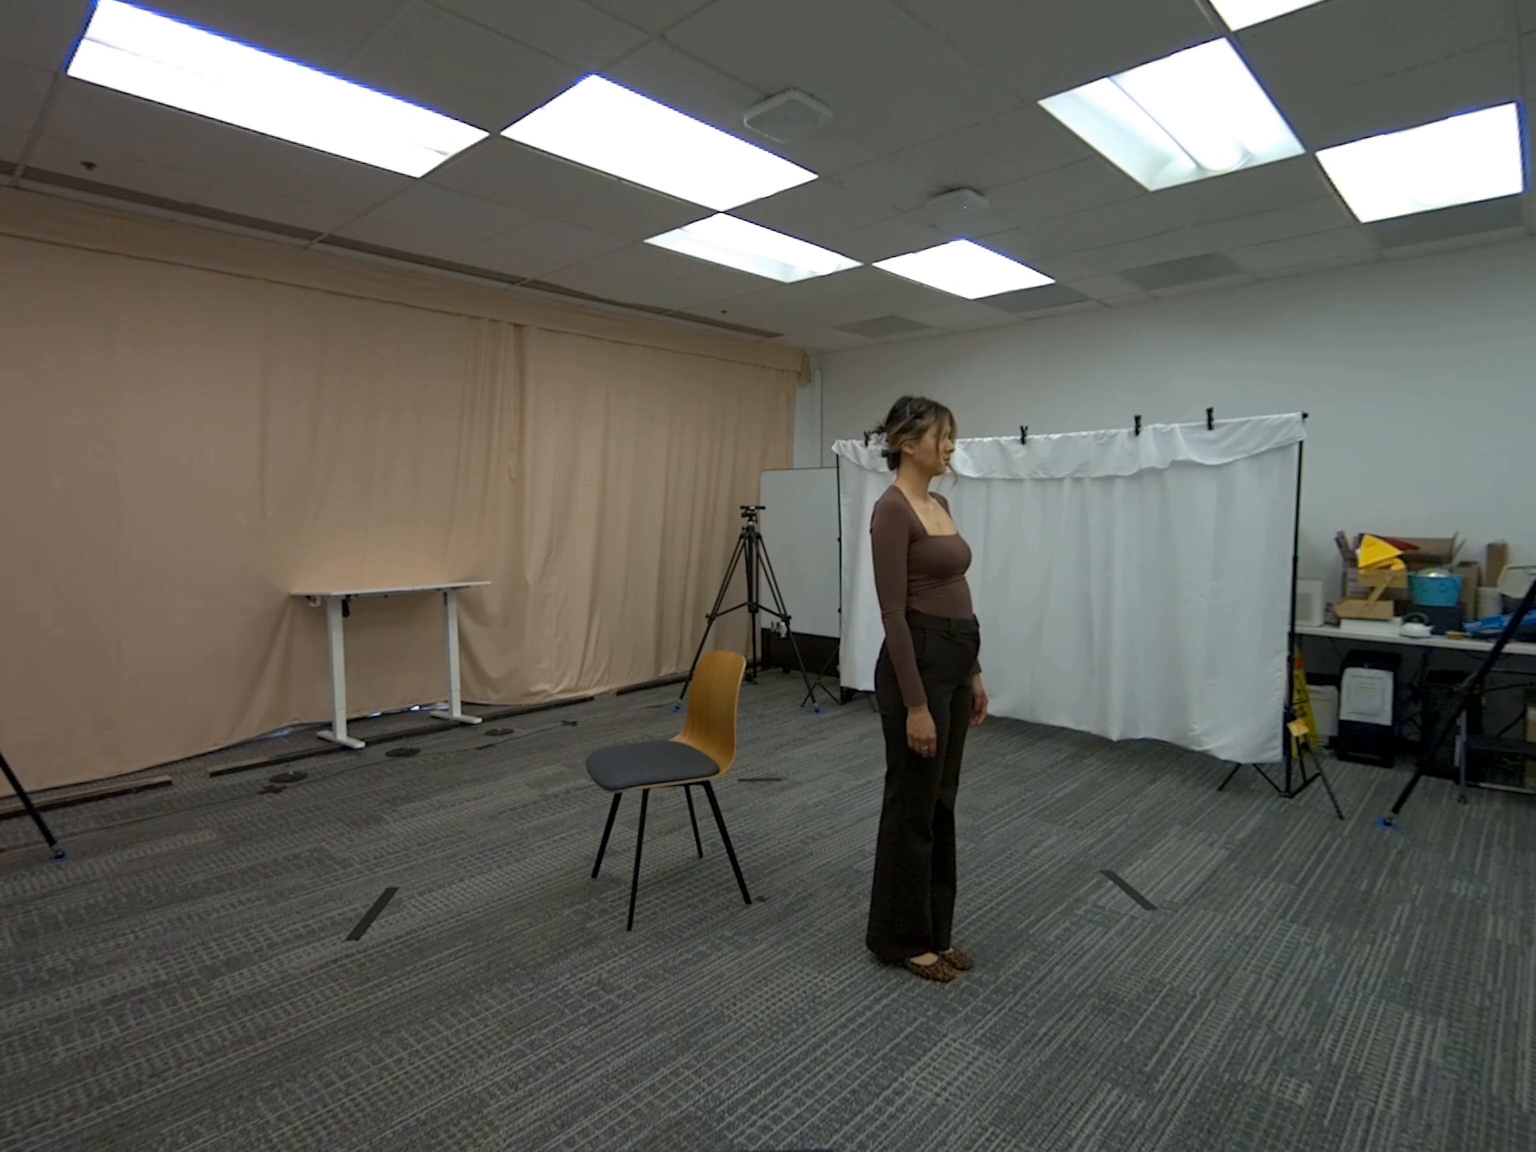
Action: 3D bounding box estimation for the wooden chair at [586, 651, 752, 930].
[{"bbox_3d":[-0.368,0.718,3.024,0.510,0.876,0.491,3,2,-26],"label":"wooden chair"}]
